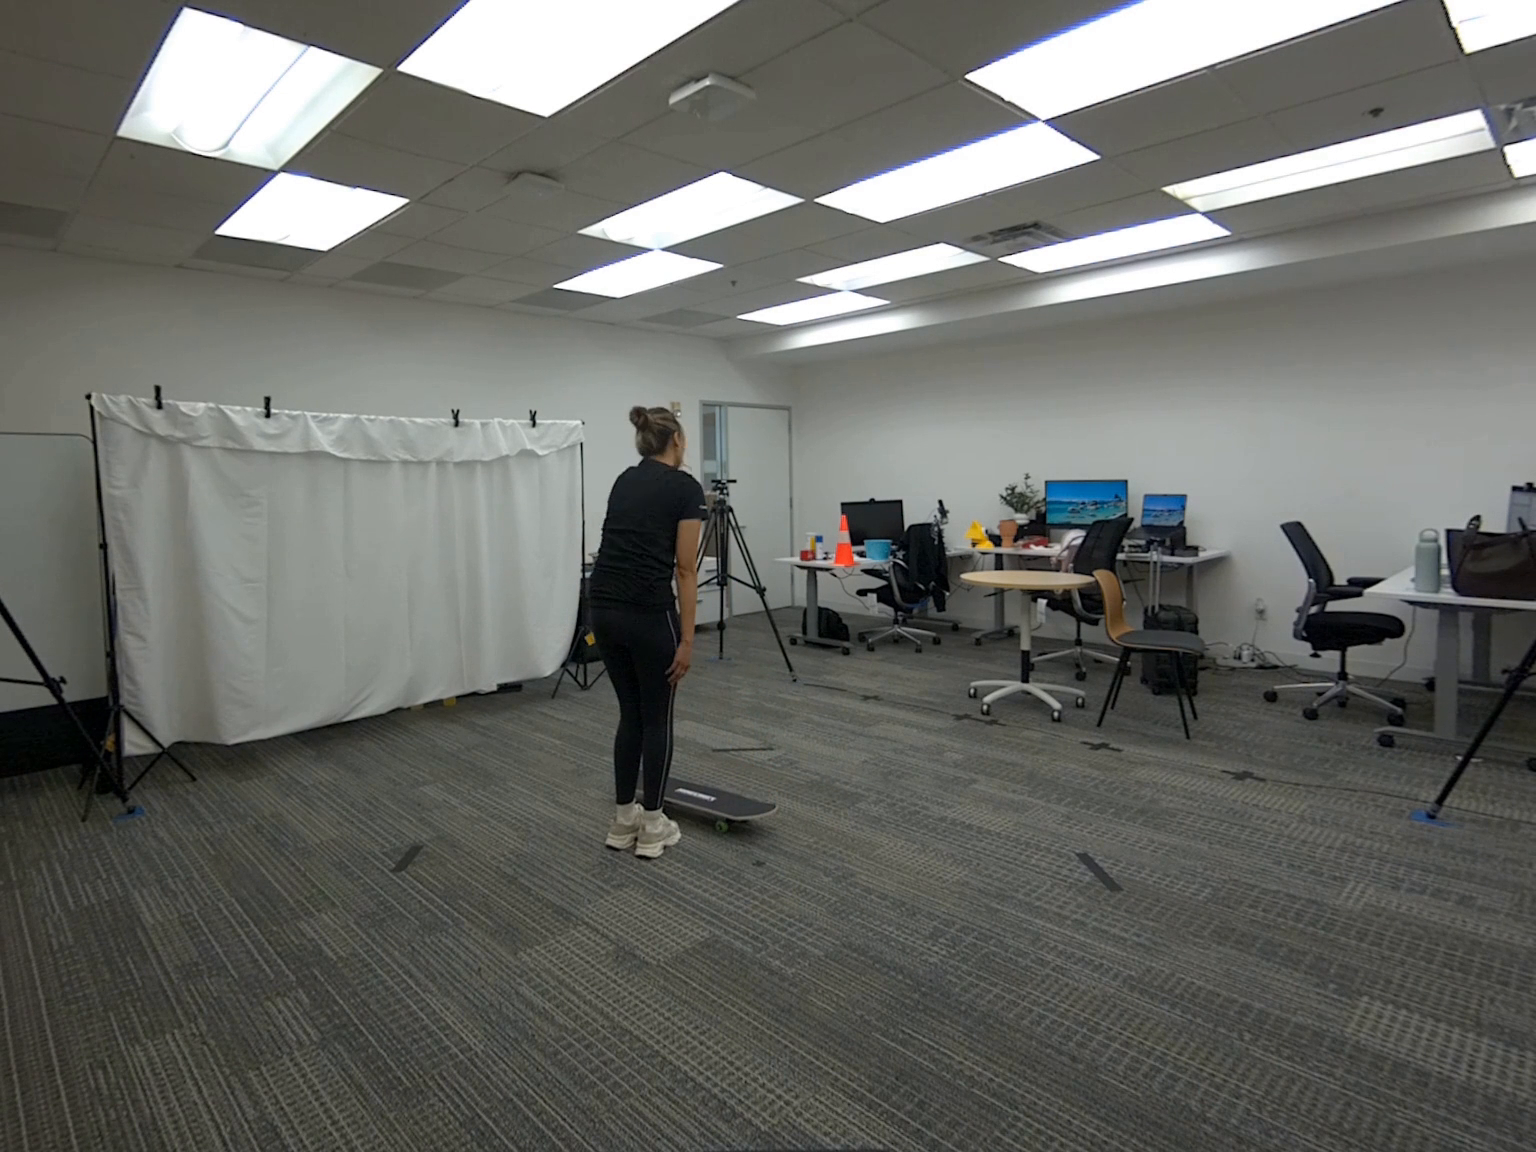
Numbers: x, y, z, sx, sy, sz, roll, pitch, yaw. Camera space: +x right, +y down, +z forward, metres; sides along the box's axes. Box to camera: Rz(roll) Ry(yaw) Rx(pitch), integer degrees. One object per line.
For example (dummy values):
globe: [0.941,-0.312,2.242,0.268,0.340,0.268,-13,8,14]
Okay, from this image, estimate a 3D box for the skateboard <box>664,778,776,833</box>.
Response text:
skateboard: [-0.297,0.943,3.567,0.808,0.110,0.189,3,8,37]
